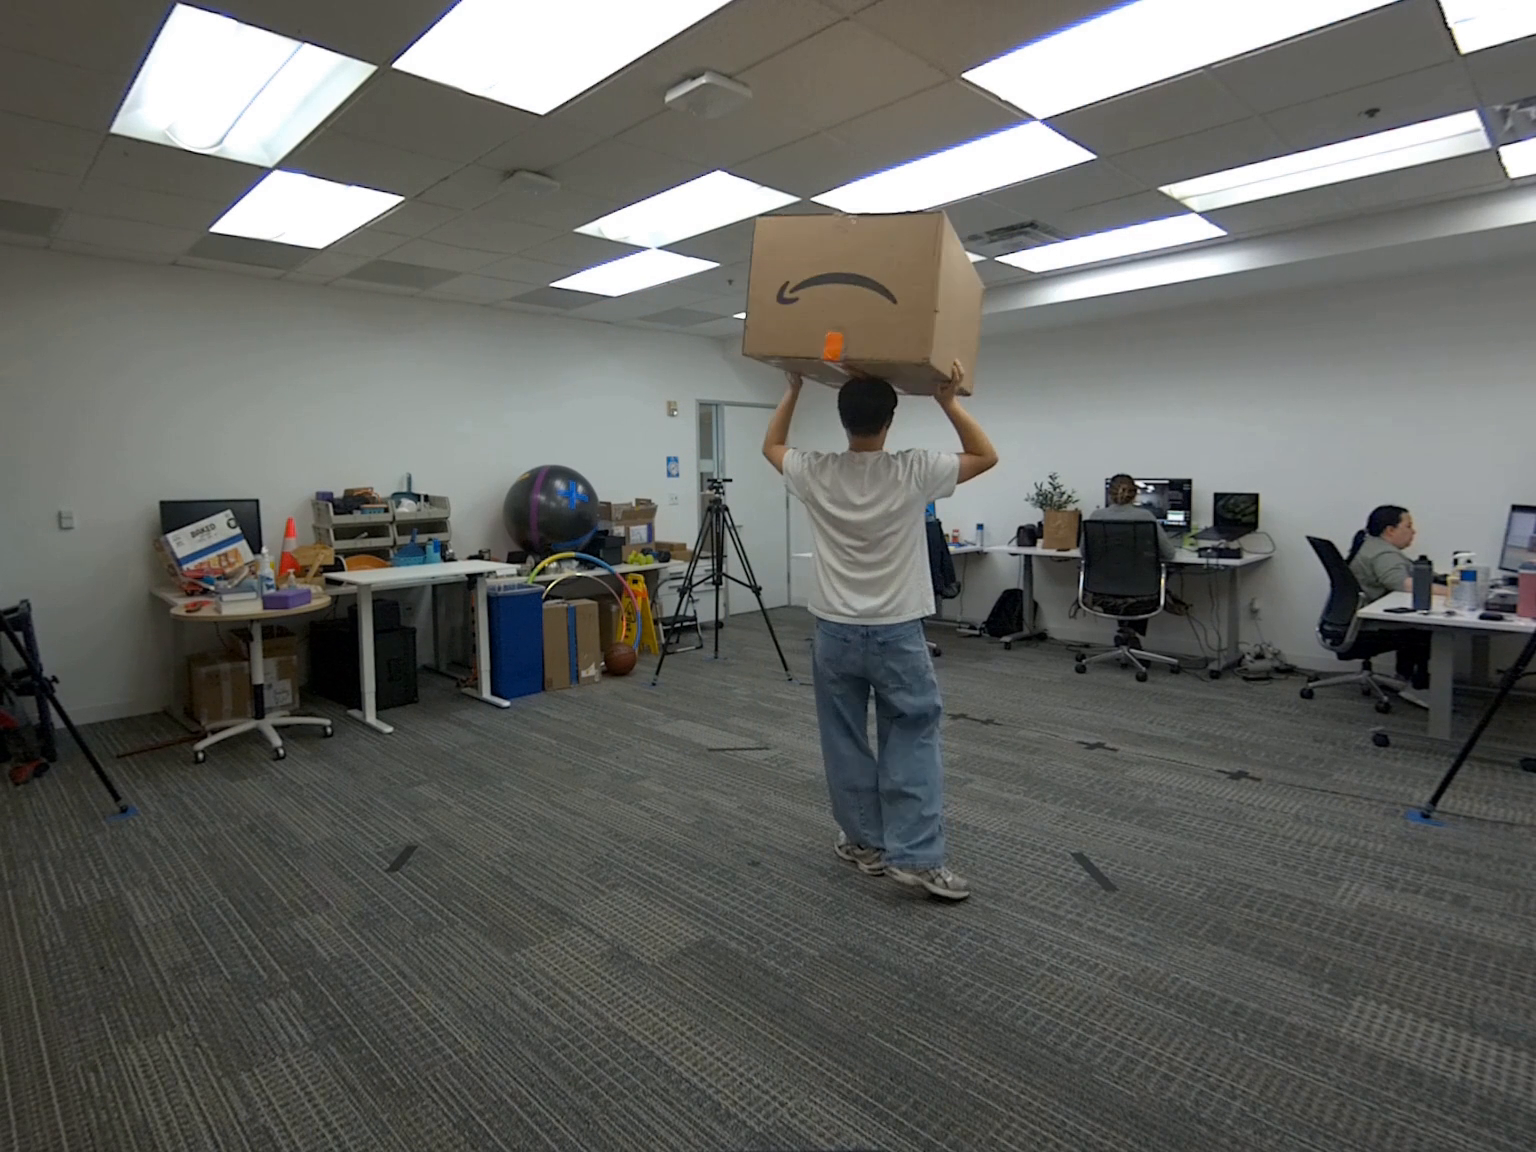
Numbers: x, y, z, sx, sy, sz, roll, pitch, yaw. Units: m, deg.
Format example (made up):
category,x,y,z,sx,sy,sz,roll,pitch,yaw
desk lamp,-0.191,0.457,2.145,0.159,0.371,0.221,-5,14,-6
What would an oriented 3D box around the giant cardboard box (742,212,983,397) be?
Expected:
category,x,y,z,sx,sy,sz,roll,pitch,yaw
giant cardboard box,0.380,-0.897,2.968,0.590,0.424,1.009,8,9,20
